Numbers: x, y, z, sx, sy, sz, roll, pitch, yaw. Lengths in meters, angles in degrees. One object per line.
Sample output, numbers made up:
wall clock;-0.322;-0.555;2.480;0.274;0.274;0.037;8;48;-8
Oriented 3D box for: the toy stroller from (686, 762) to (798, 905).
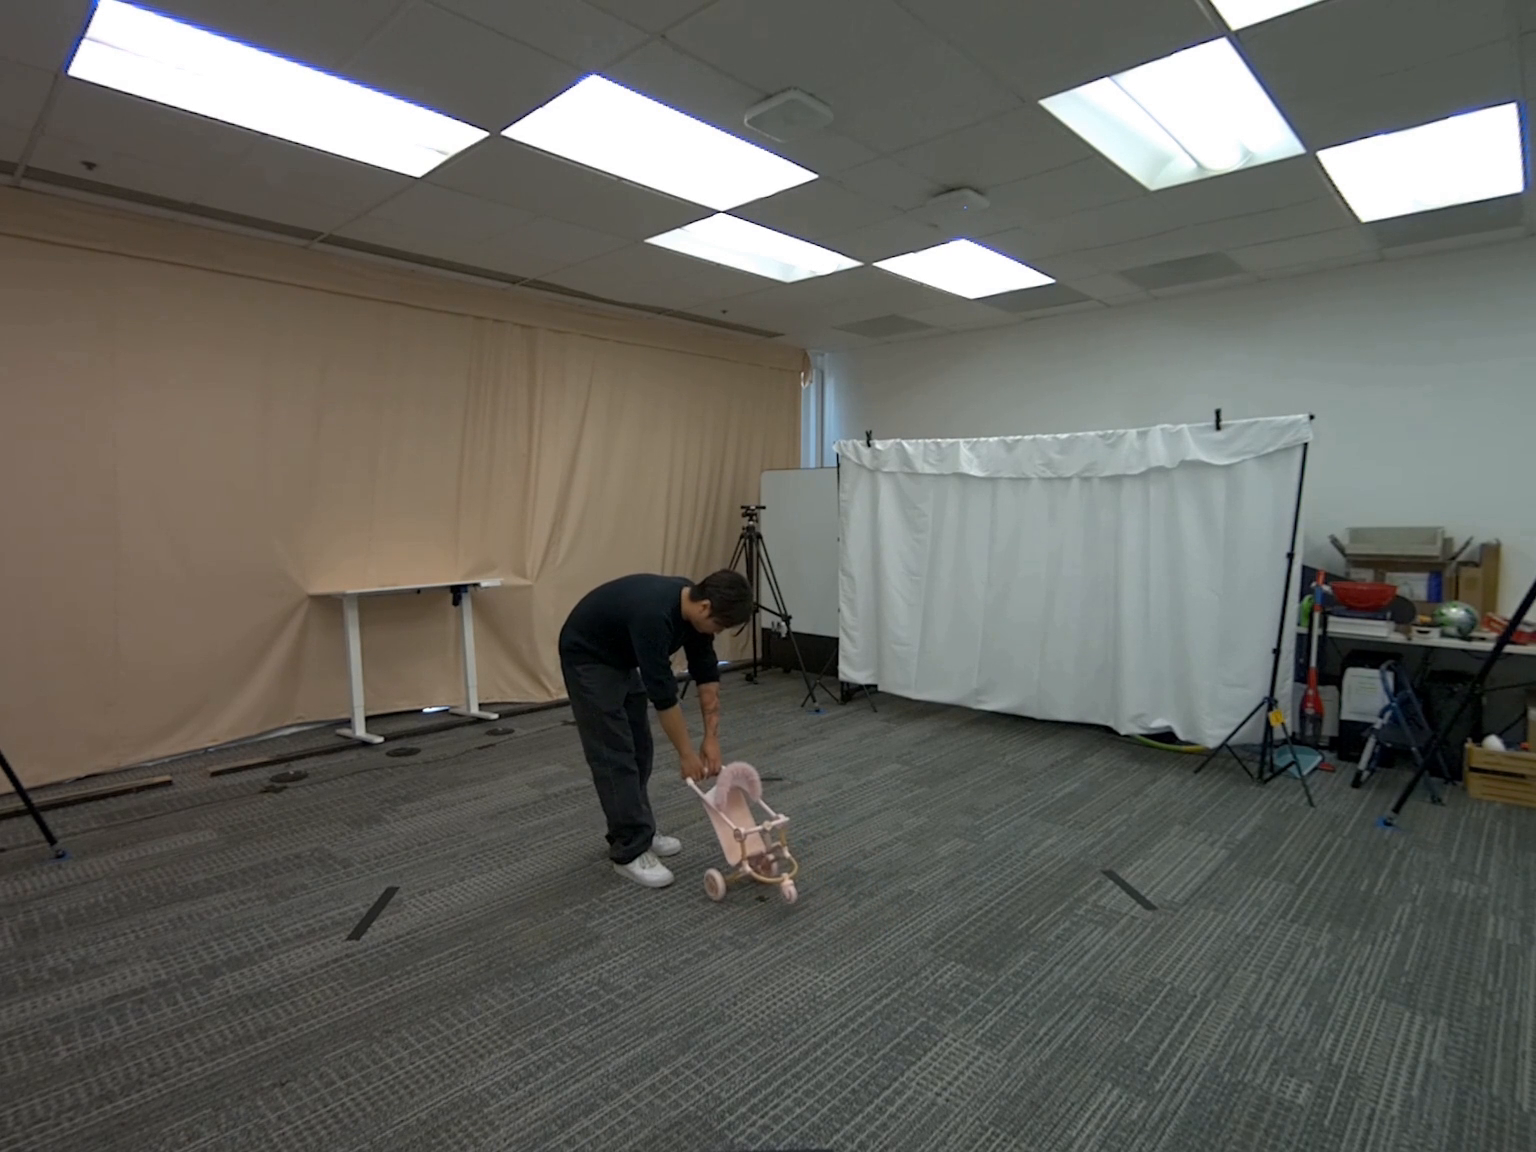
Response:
toy stroller;-0.075;0.911;3.014;0.273;0.543;0.346;-4;-22;-36
